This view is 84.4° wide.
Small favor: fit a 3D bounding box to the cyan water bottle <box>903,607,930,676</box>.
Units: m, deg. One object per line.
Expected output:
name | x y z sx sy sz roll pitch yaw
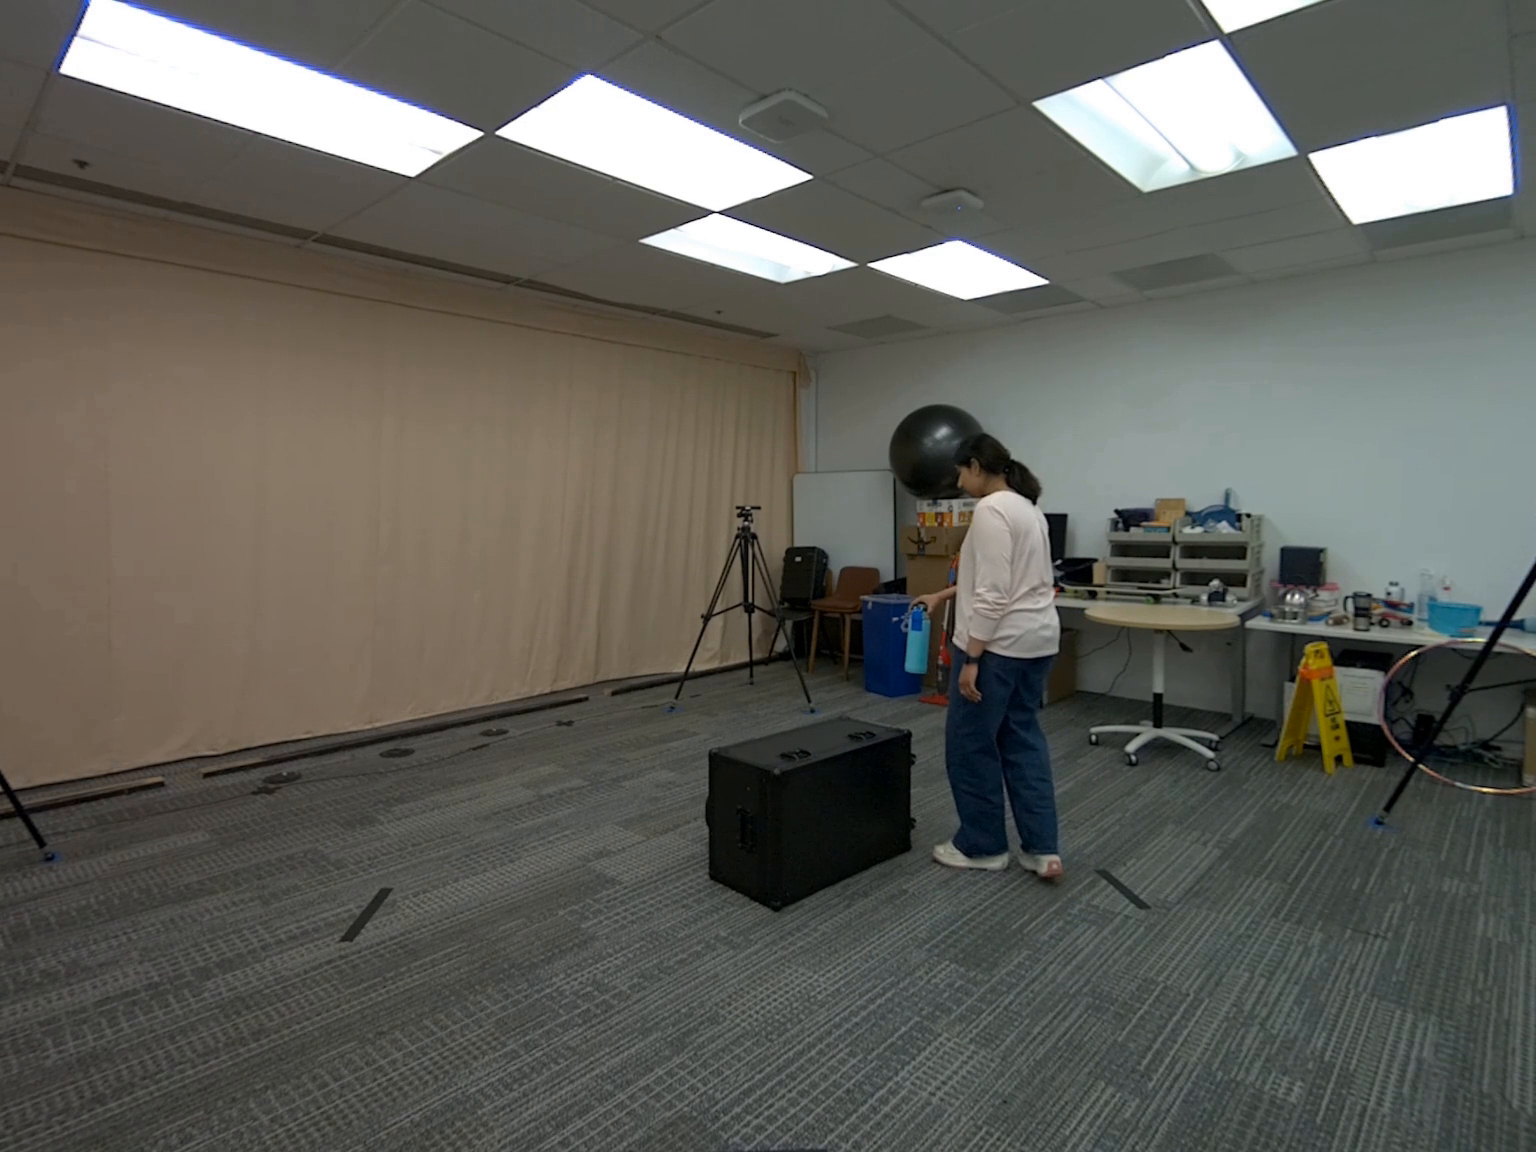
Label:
cyan water bottle | 0.642 0.264 3.536 0.092 0.283 0.093 4 4 -2
